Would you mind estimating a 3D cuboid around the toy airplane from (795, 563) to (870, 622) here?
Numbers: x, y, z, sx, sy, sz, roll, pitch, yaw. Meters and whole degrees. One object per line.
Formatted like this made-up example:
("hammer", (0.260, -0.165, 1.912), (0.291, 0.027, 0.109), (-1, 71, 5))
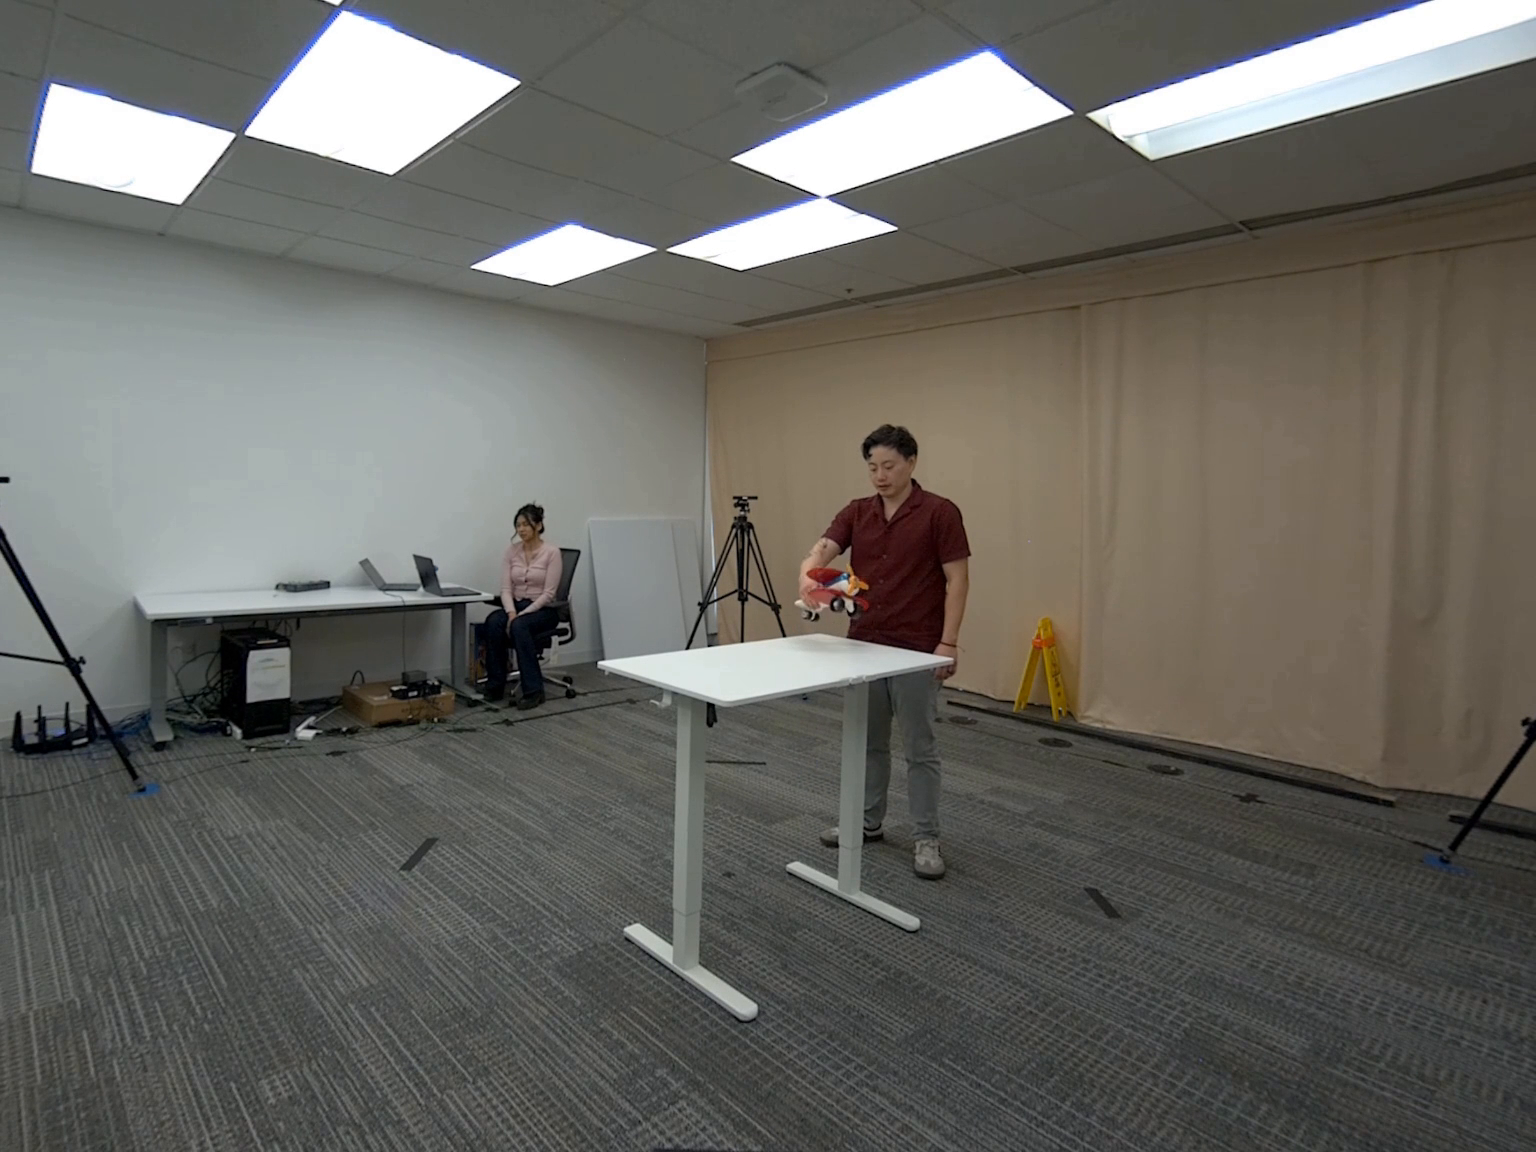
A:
("toy airplane", (0.195, 0.065, 2.957), (0.264, 0.158, 0.244), (1, -18, 24))
